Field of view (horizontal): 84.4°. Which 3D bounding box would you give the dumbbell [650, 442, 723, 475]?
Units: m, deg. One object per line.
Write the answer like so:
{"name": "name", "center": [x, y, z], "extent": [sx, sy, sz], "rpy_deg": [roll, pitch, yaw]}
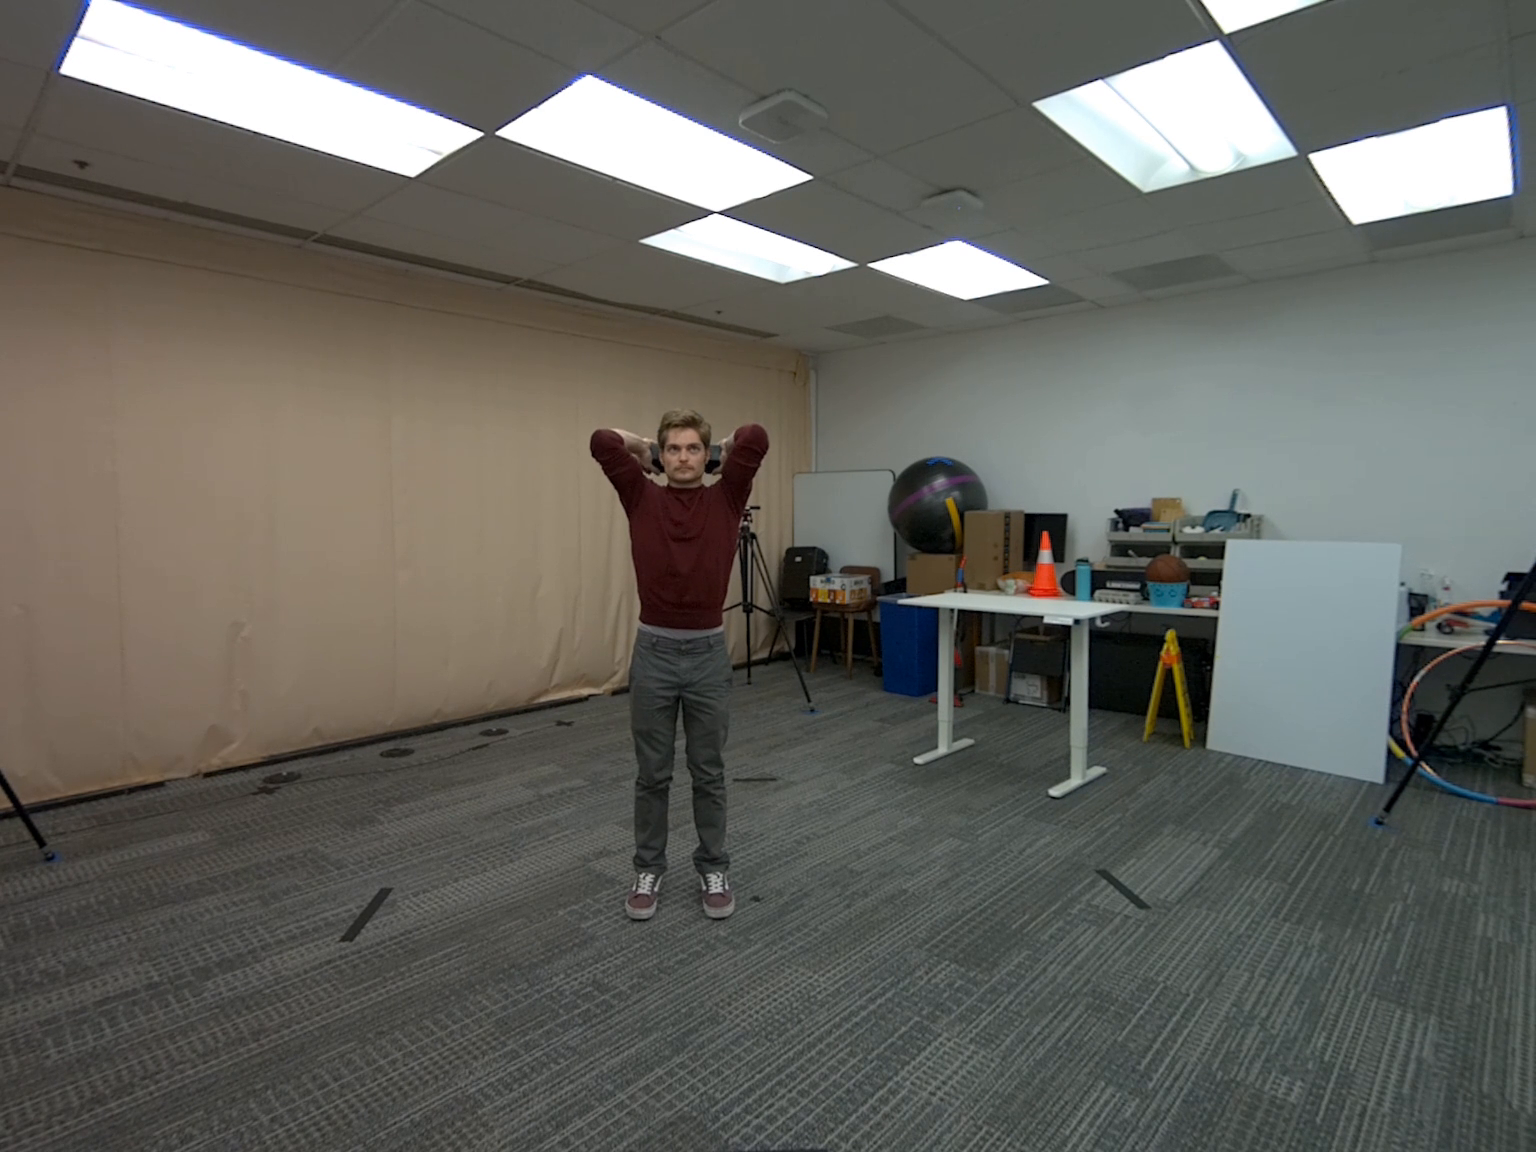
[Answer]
{"name": "dumbbell", "center": [-0.298, -0.454, 3.101], "extent": [0.293, 0.121, 0.111], "rpy_deg": [0, 40, -3]}
